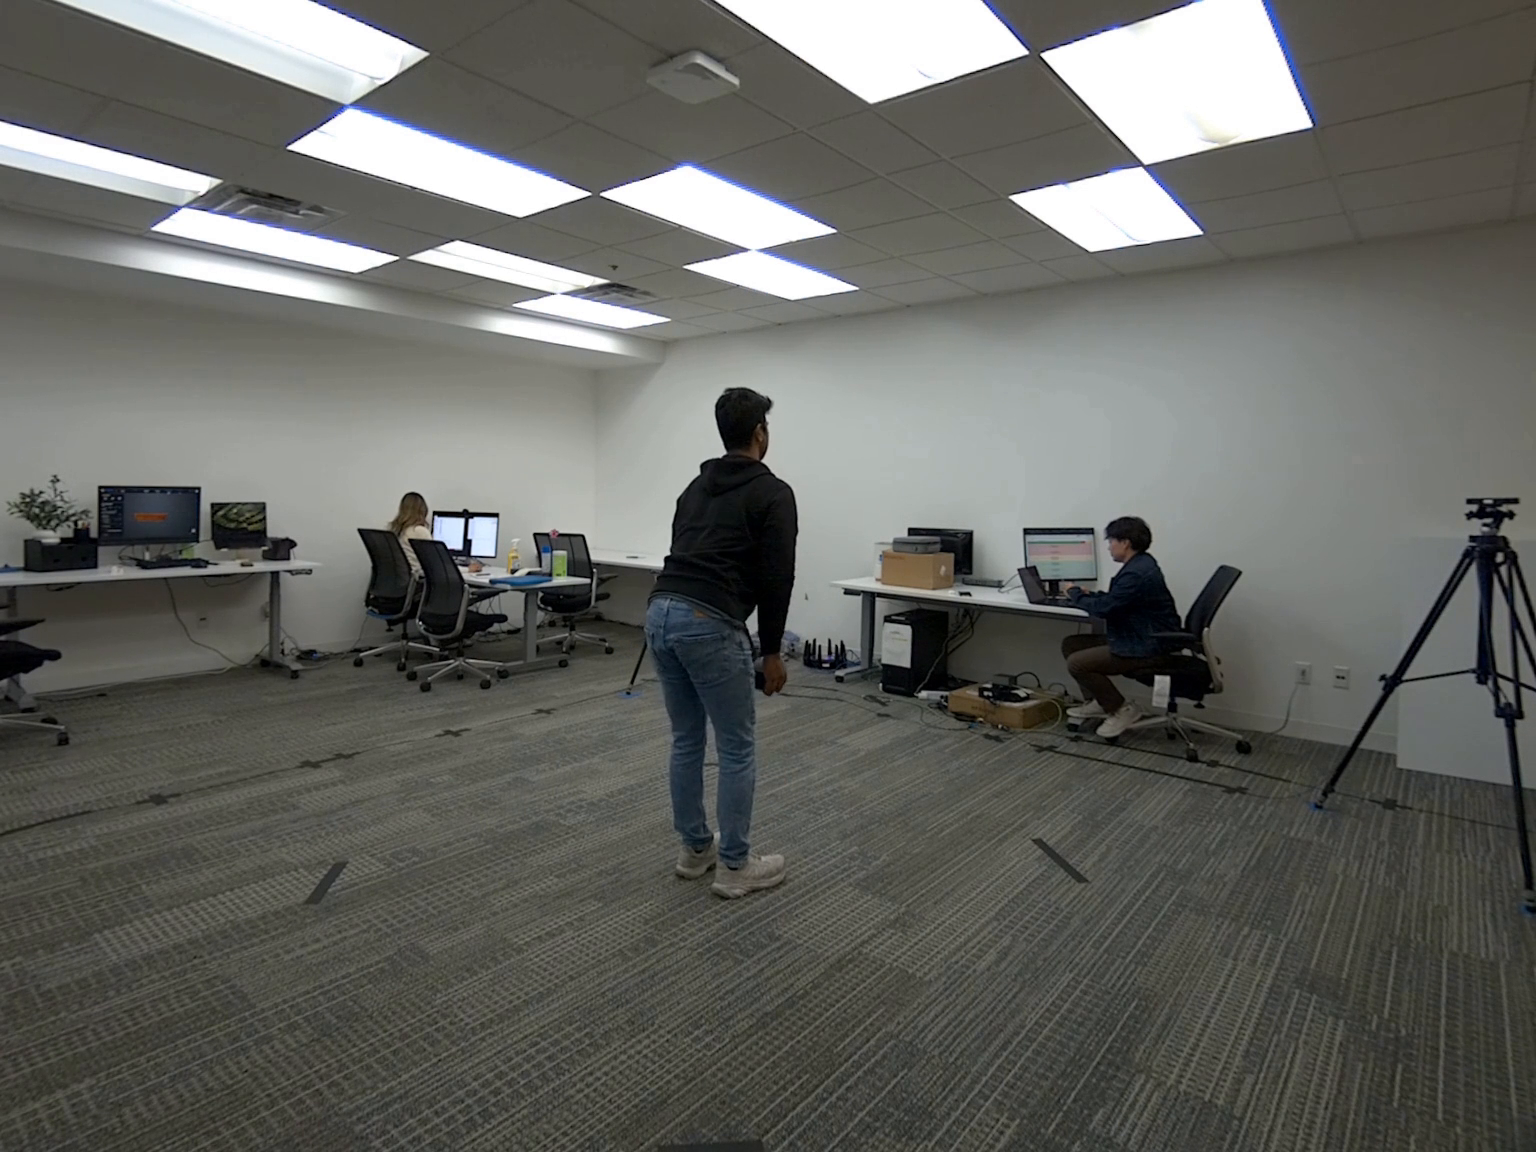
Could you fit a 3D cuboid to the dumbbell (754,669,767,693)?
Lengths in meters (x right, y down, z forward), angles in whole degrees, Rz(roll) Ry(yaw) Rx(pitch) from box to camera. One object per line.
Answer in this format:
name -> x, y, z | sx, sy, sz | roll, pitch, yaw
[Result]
dumbbell -> -0.111, 0.353, 3.083 | 0.304, 0.105, 0.123 | 8, 41, 40
